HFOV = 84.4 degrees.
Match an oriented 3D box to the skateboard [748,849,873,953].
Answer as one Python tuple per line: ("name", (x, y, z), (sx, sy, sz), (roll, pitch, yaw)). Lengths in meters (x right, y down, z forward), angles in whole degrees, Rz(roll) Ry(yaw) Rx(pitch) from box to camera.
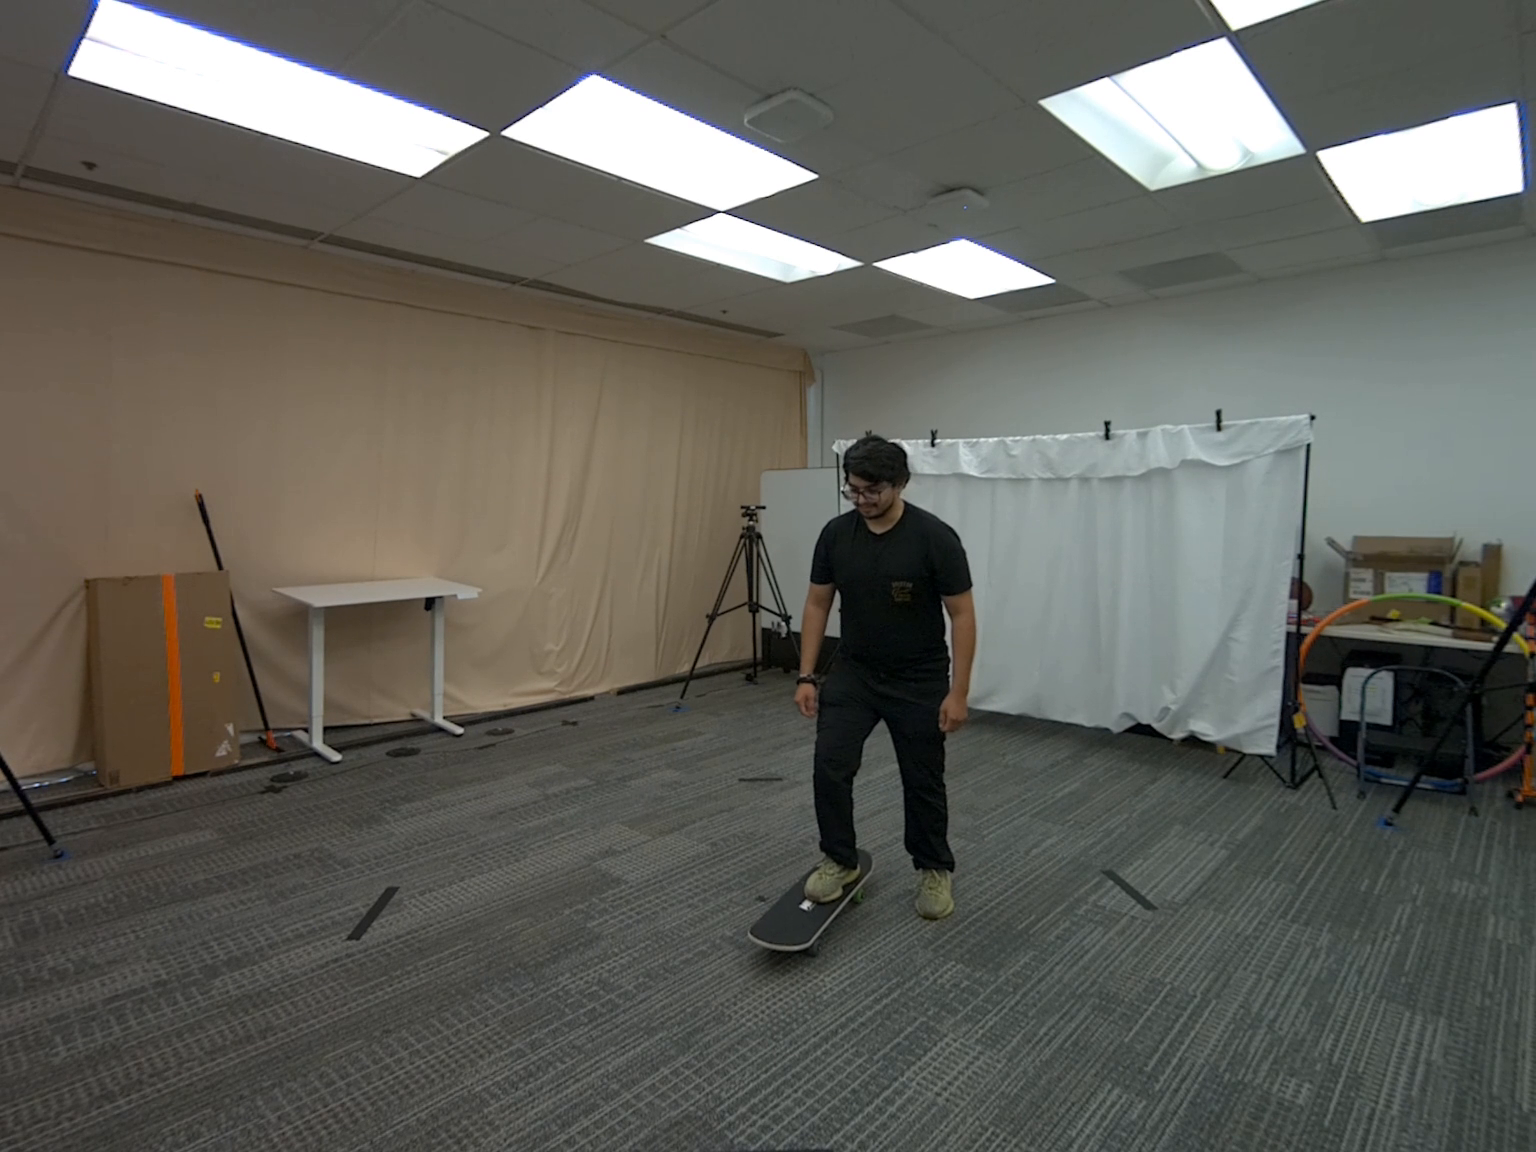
("skateboard", (0.169, 1.105, 2.817), (0.199, 0.110, 0.766), (4, 6, 26))
